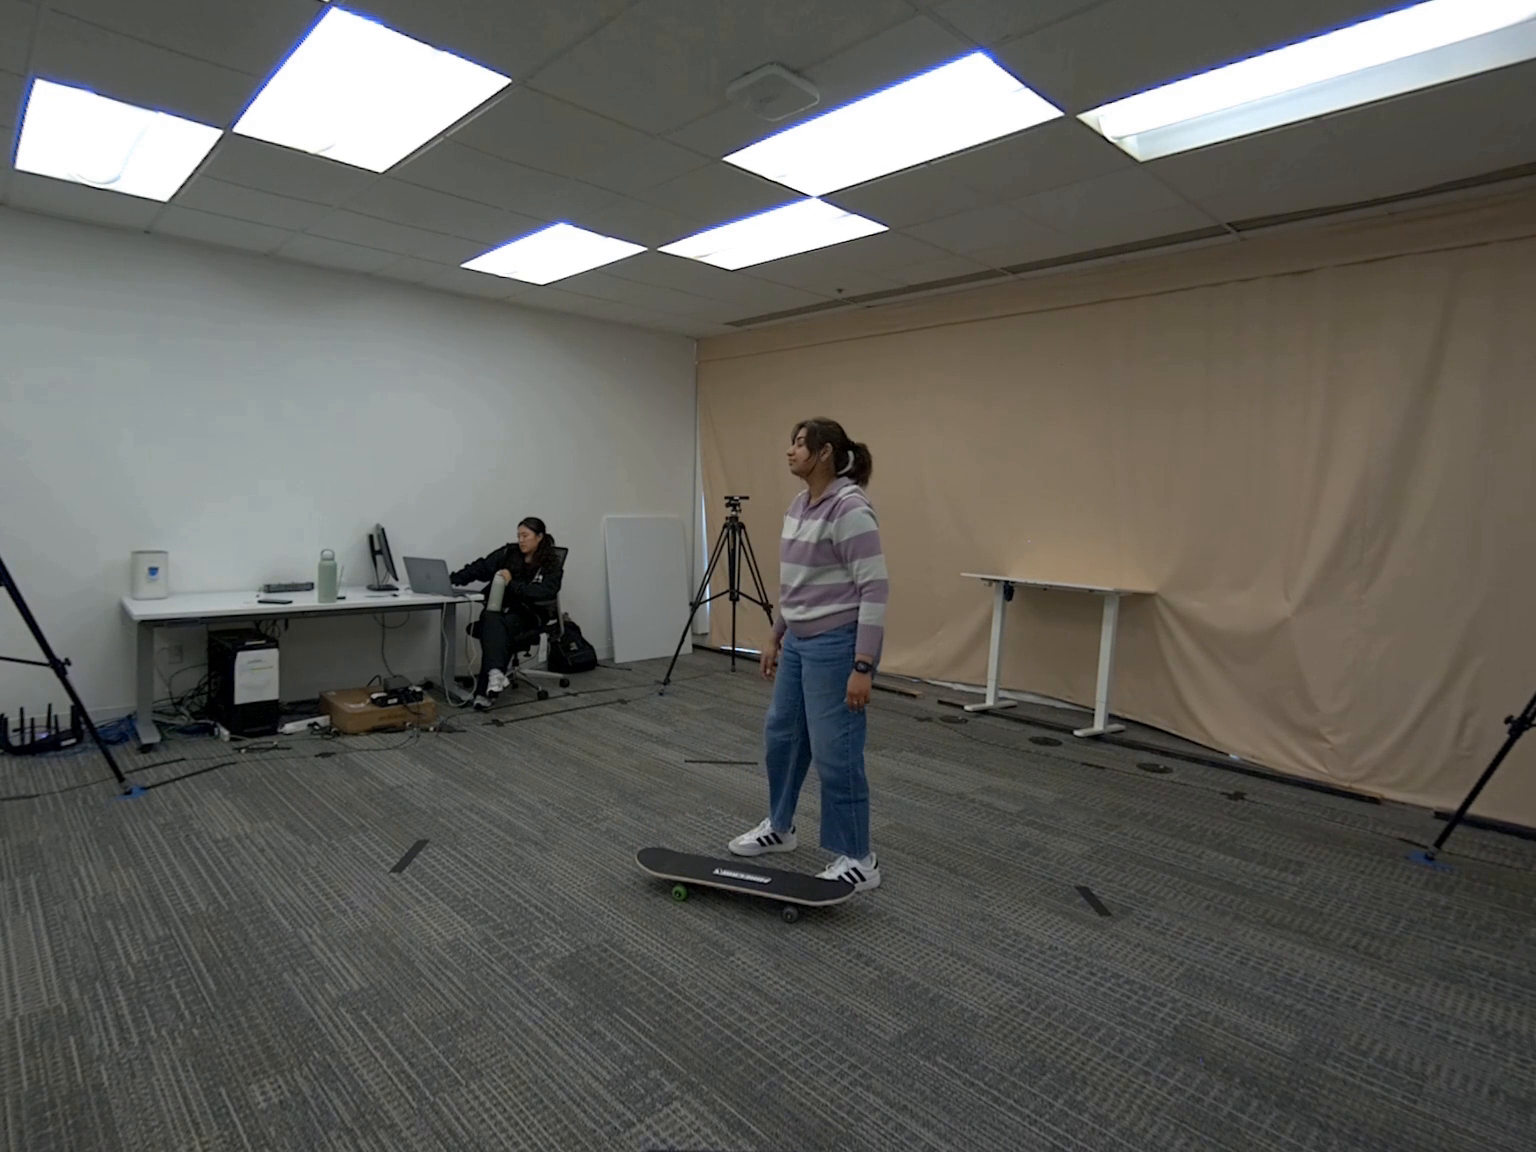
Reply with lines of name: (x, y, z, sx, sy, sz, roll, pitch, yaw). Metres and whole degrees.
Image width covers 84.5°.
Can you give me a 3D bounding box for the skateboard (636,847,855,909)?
skateboard: (-0.099, 1.066, 2.903, 0.797, 0.110, 0.191, 3, 5, 19)
